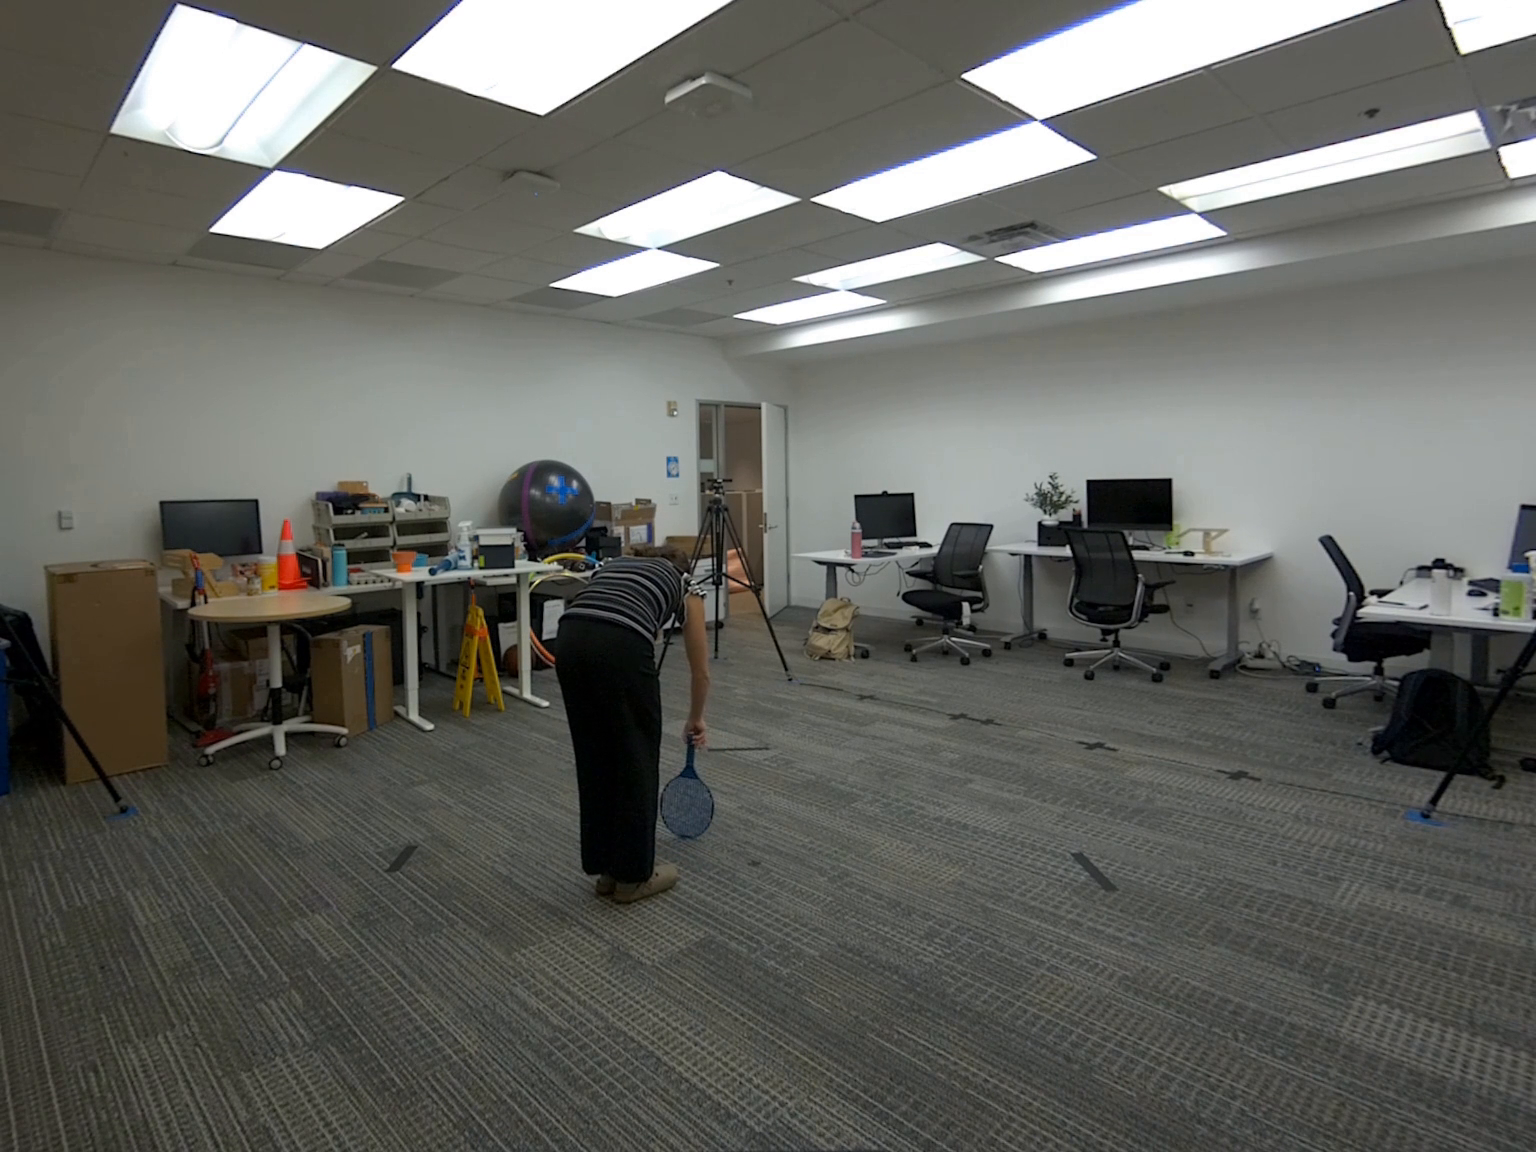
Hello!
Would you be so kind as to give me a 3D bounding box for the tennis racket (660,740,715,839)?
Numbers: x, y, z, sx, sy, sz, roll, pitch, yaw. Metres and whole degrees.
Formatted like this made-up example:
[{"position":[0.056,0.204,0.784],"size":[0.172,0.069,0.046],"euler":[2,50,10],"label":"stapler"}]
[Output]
[{"position":[-0.304,0.818,3.291],"size":[0.215,0.429,0.032],"euler":[8,9,5],"label":"tennis racket"}]
